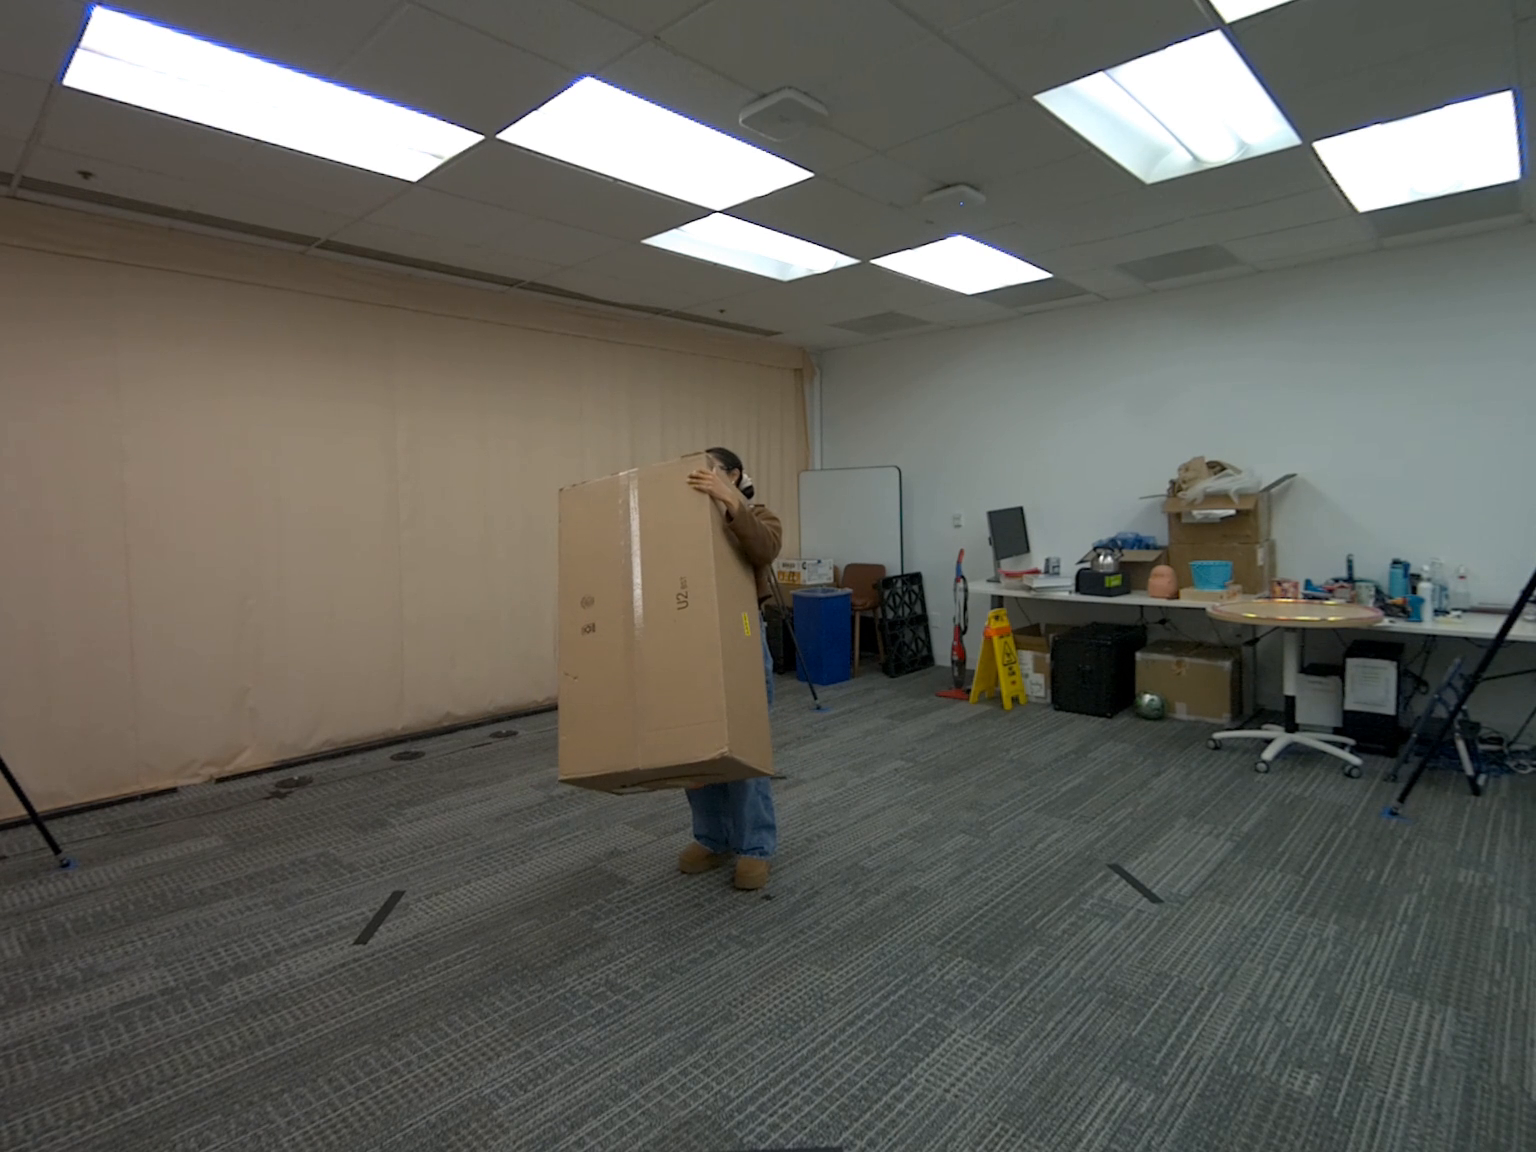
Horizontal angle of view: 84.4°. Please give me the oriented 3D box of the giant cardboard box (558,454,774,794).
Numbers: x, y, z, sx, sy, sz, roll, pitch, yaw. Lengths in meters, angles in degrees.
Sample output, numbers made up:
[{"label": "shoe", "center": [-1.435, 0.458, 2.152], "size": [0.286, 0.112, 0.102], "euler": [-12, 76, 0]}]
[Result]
[{"label": "giant cardboard box", "center": [-0.362, 0.179, 2.888], "size": [0.586, 1.042, 0.413], "euler": [-14, -25, 17]}]
